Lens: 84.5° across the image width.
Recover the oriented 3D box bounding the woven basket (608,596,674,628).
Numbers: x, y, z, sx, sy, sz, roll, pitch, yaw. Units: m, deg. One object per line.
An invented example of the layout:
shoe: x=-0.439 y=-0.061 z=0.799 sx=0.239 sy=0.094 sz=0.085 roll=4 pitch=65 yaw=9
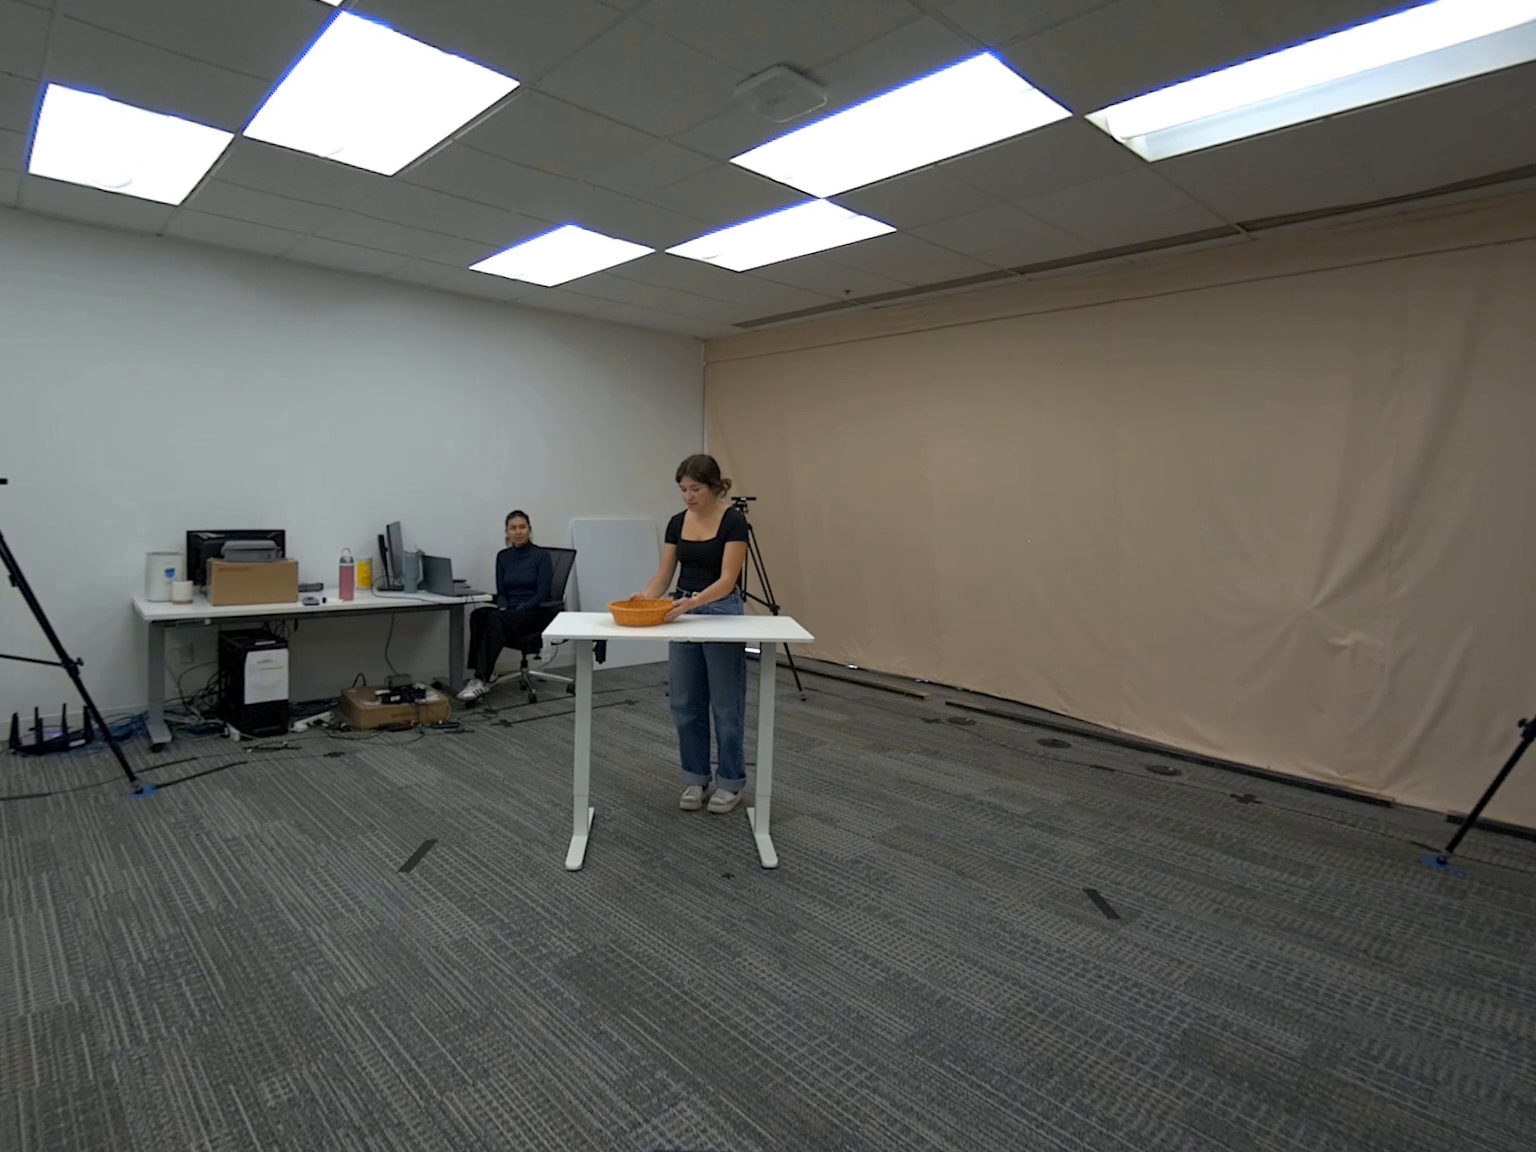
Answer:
woven basket: x=-0.532 y=0.154 z=3.426 sx=0.256 sy=0.073 sz=0.346 roll=3 pitch=5 yaw=17
